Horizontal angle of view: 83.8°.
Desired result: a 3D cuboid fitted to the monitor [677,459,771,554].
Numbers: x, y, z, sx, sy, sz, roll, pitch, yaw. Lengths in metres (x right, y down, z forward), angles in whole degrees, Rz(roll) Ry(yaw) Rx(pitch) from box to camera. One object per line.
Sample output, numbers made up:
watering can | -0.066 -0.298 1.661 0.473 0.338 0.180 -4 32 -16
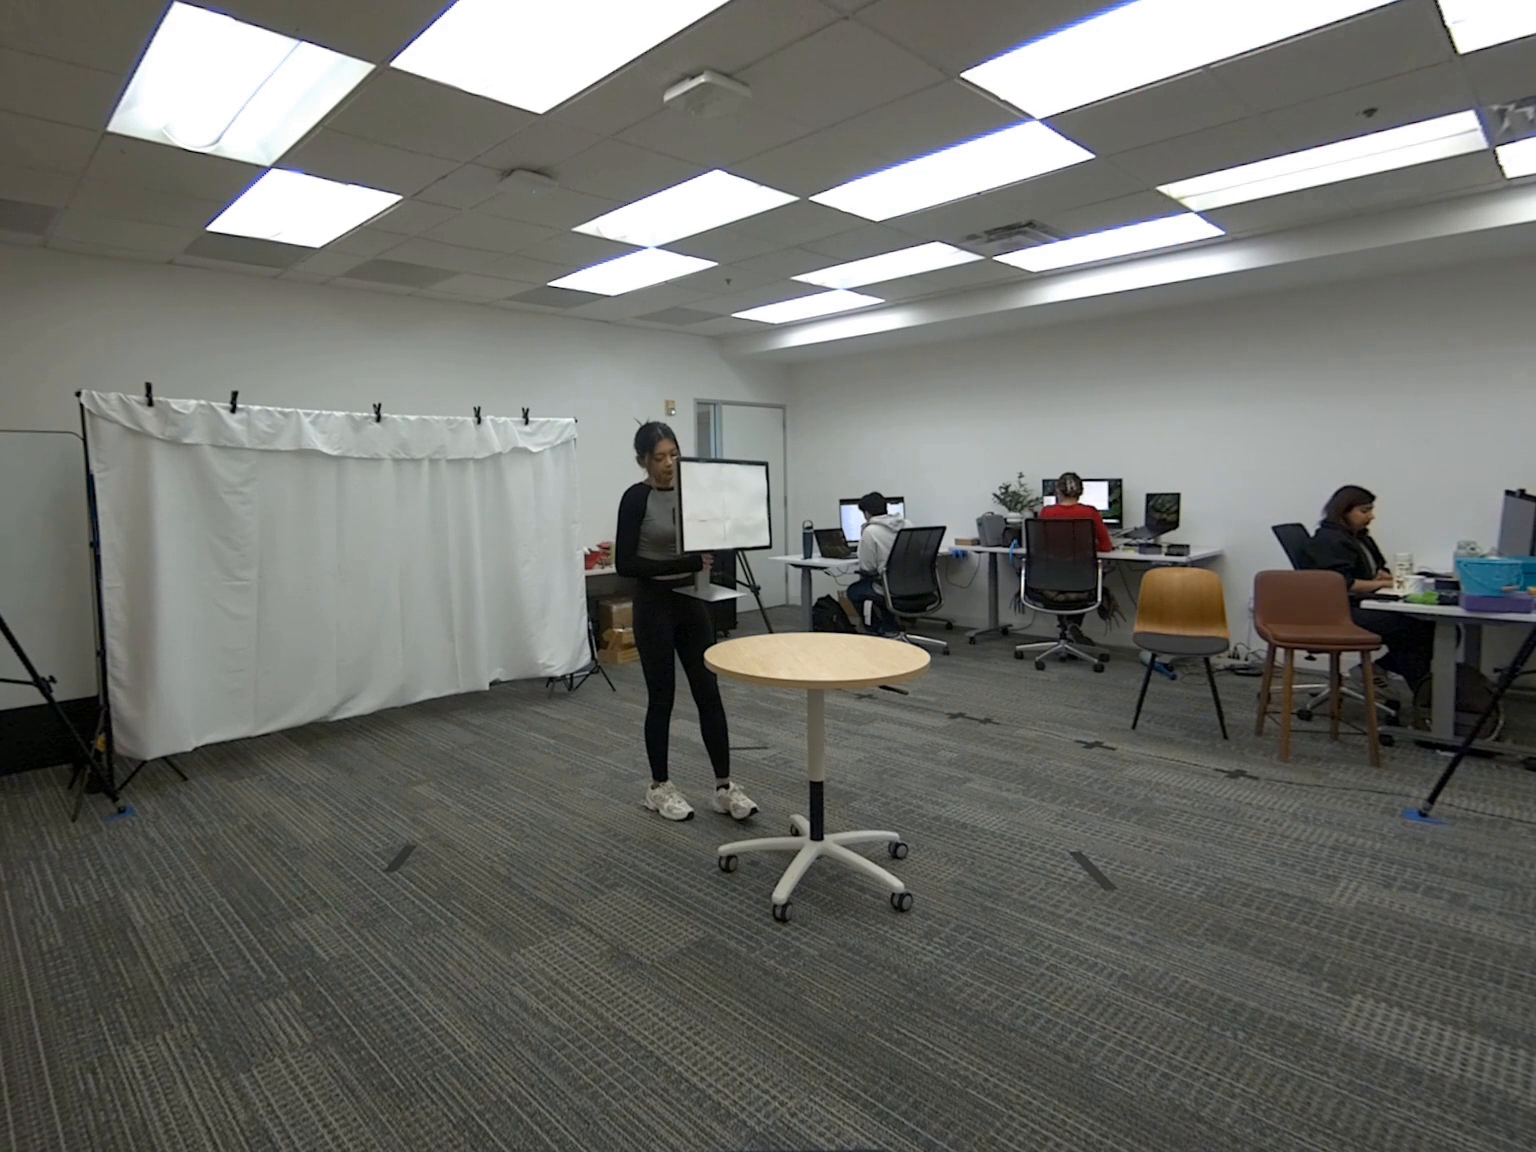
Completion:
monitor | -0.199 -0.191 3.365 0.193 0.519 0.525 13 11 36
